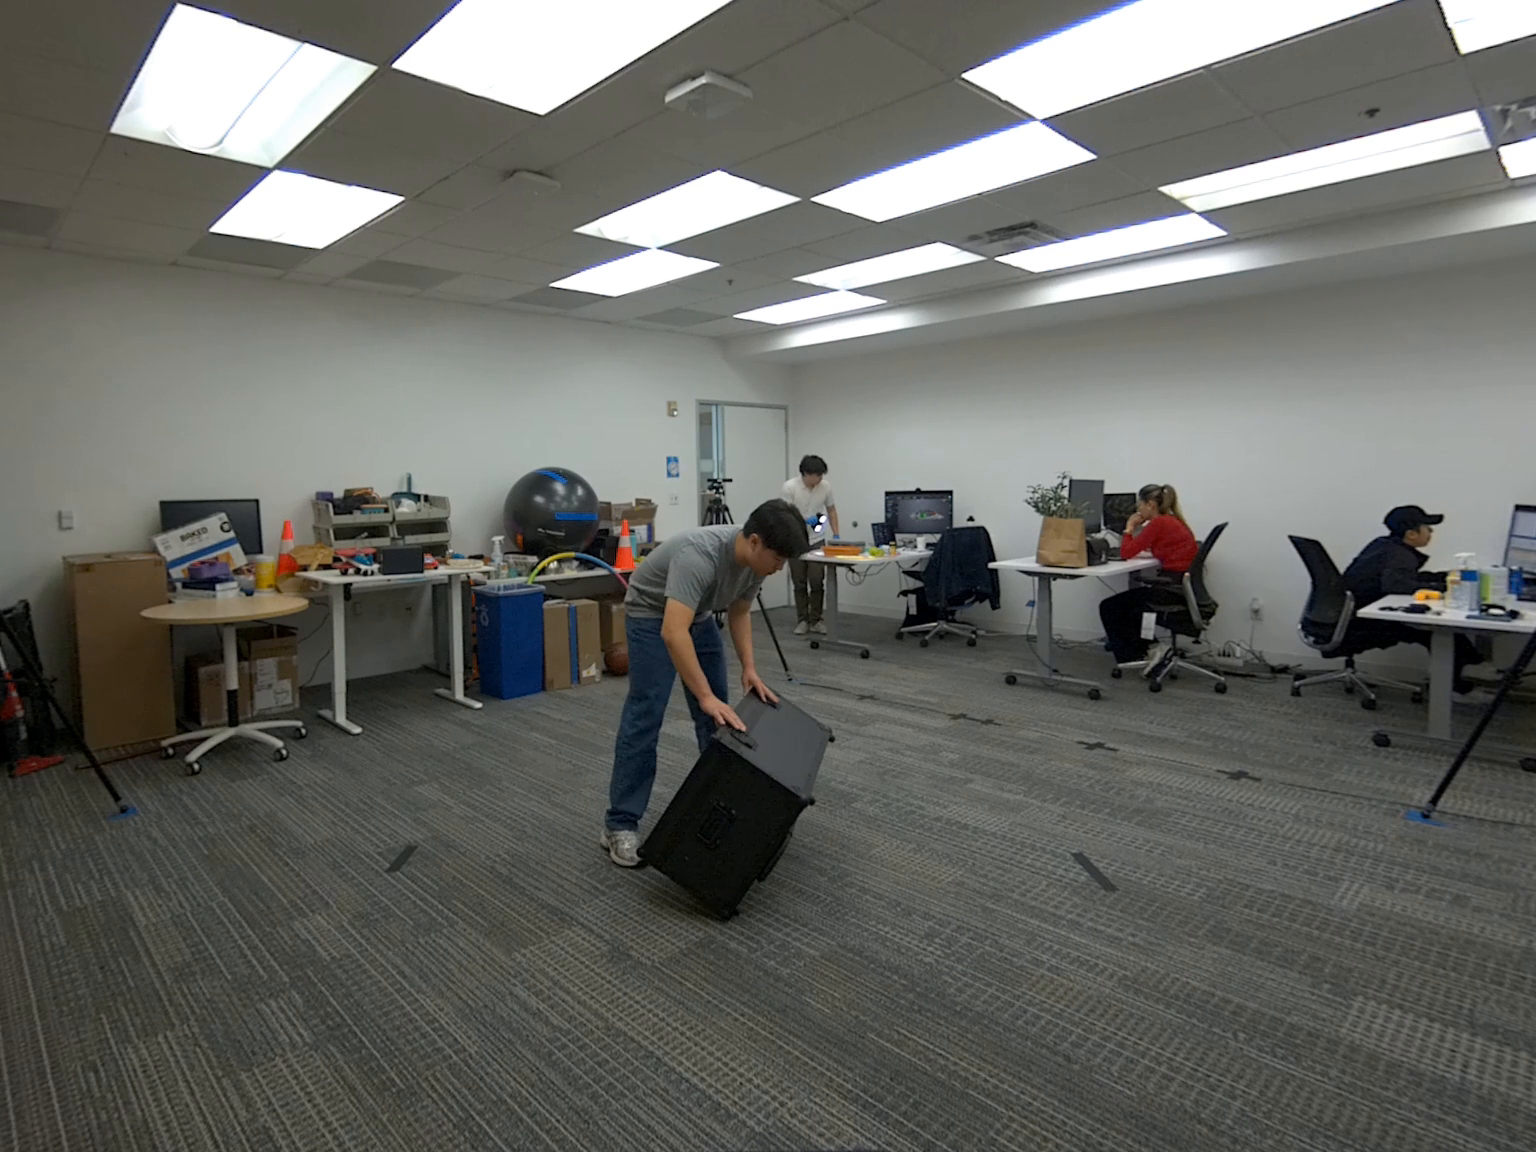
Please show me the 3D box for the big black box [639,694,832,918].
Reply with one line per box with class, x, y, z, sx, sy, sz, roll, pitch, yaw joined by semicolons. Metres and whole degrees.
big black box;-0.063;0.748;3.081;0.400;0.520;0.855;33;9;5
